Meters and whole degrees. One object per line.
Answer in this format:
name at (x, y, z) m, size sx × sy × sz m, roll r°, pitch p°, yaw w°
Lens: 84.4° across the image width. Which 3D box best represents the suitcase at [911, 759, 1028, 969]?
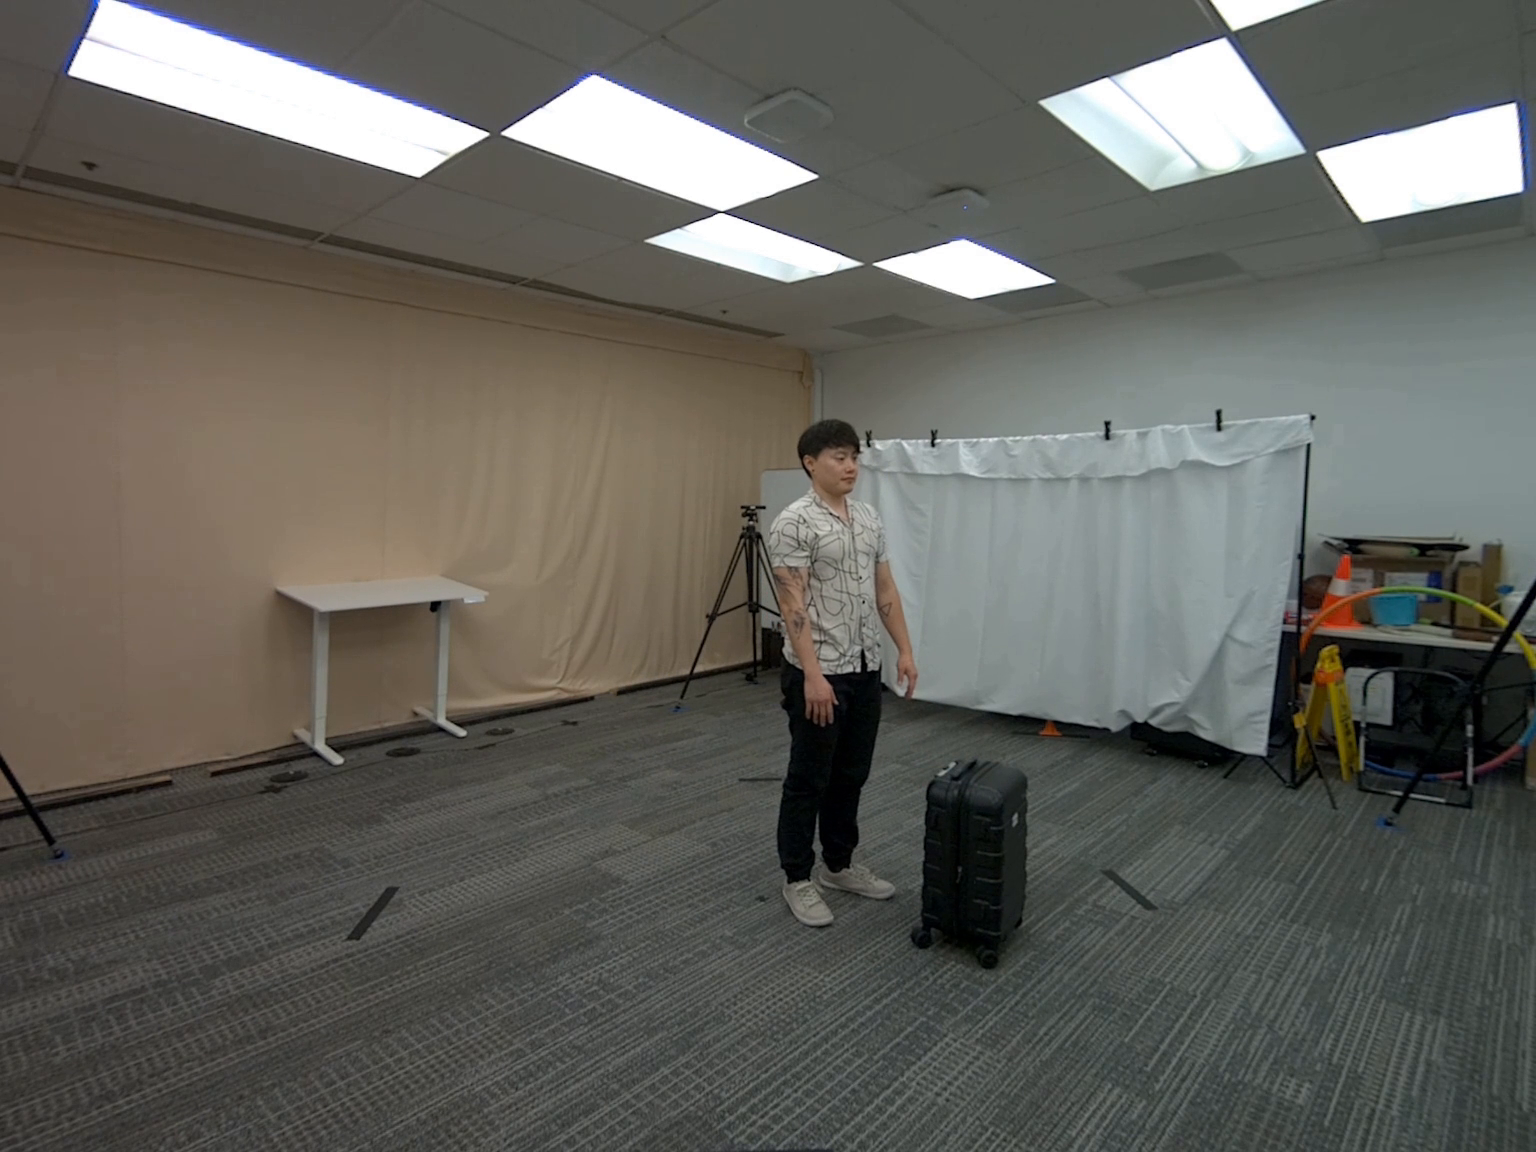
suitcase at (0.679, 0.890, 2.708) m, size 0.256 × 0.548 × 0.365 m, roll 4°, pitch 5°, yaw 33°
